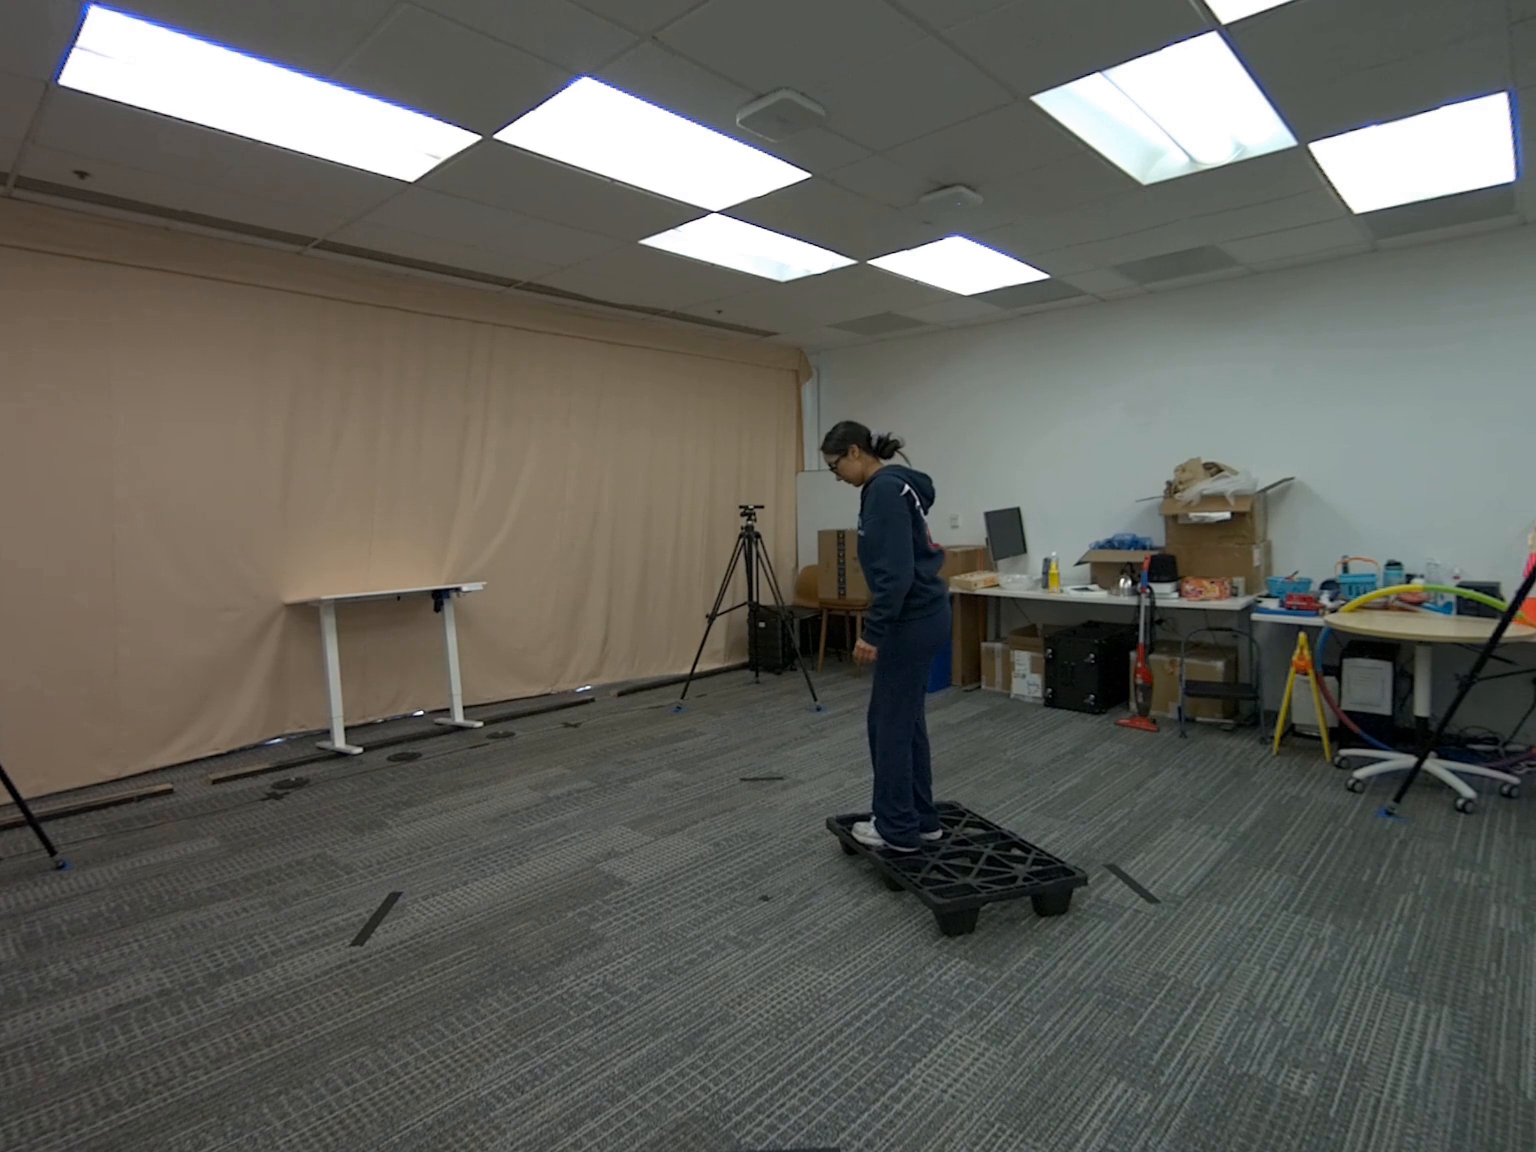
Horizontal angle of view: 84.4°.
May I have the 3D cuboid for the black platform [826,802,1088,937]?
[{"bbox_3d":[0.656,1.050,3.092,0.593,0.143,0.823,-3,4,-20],"label":"black platform"}]
